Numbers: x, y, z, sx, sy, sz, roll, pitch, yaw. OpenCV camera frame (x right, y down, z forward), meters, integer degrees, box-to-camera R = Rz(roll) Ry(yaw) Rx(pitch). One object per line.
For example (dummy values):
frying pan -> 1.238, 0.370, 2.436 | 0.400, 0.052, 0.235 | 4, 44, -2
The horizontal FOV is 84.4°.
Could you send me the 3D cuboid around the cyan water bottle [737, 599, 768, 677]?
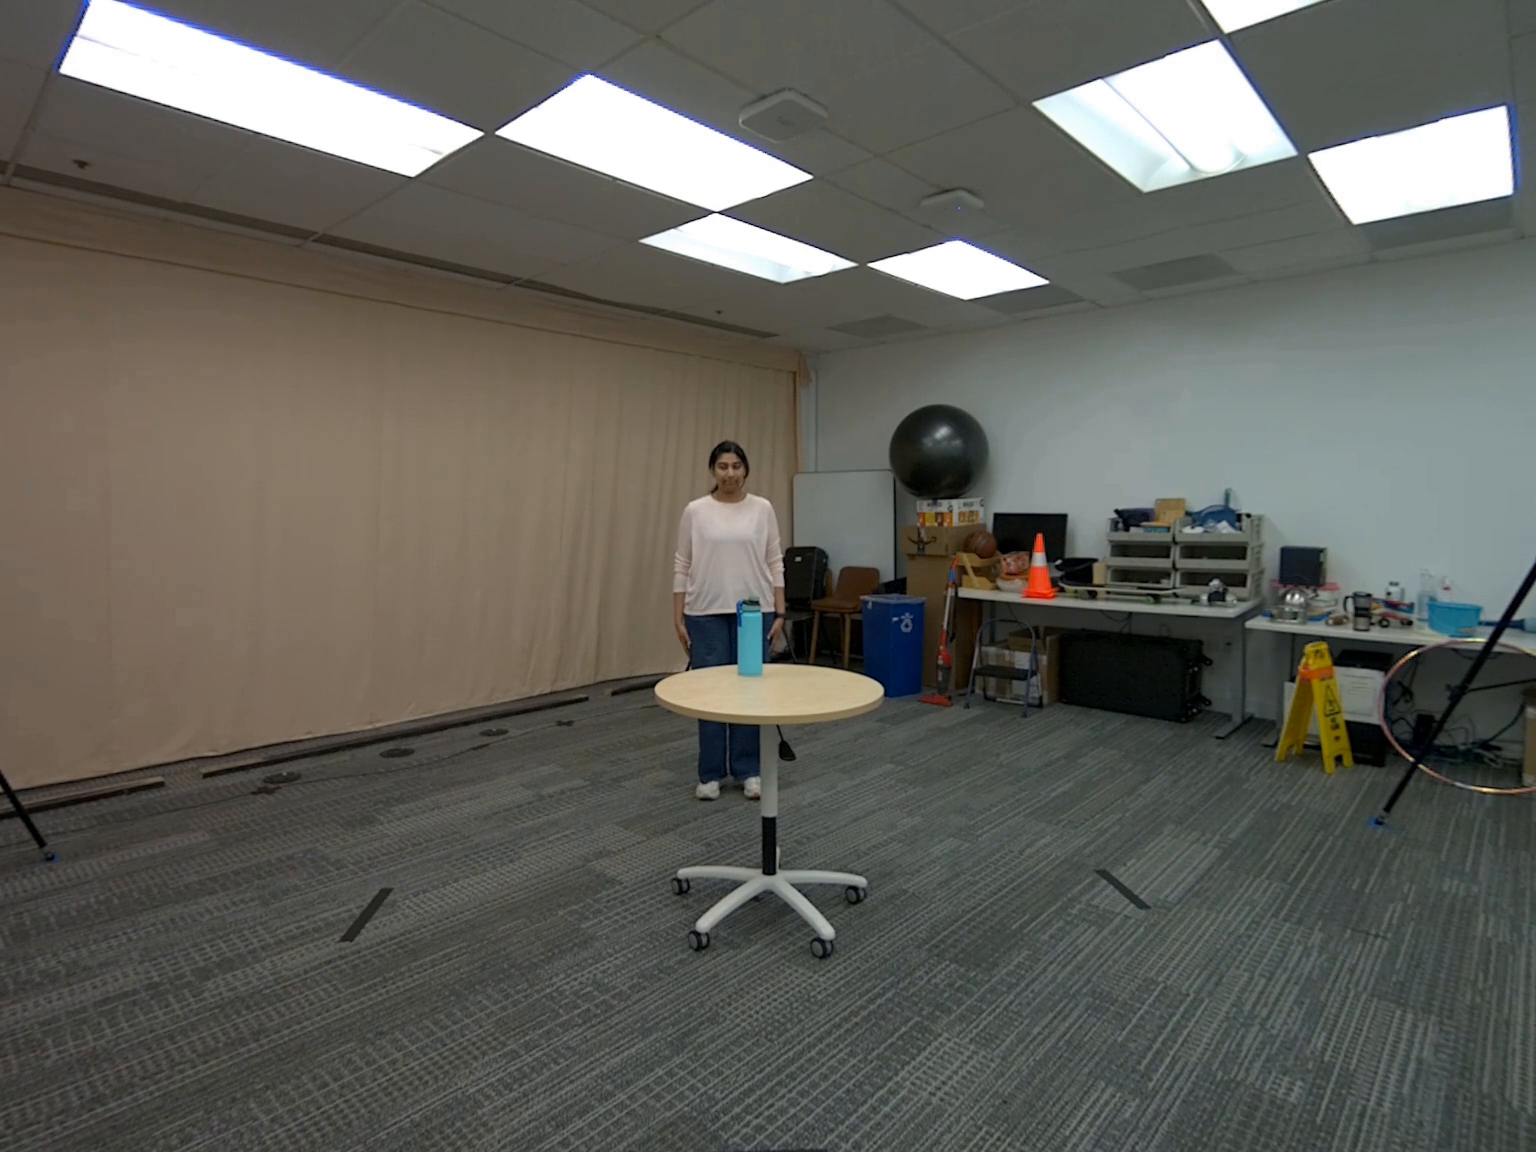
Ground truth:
cyan water bottle -> -0.068, 0.217, 3.039 | 0.092, 0.283, 0.092 | -2, 3, -2
